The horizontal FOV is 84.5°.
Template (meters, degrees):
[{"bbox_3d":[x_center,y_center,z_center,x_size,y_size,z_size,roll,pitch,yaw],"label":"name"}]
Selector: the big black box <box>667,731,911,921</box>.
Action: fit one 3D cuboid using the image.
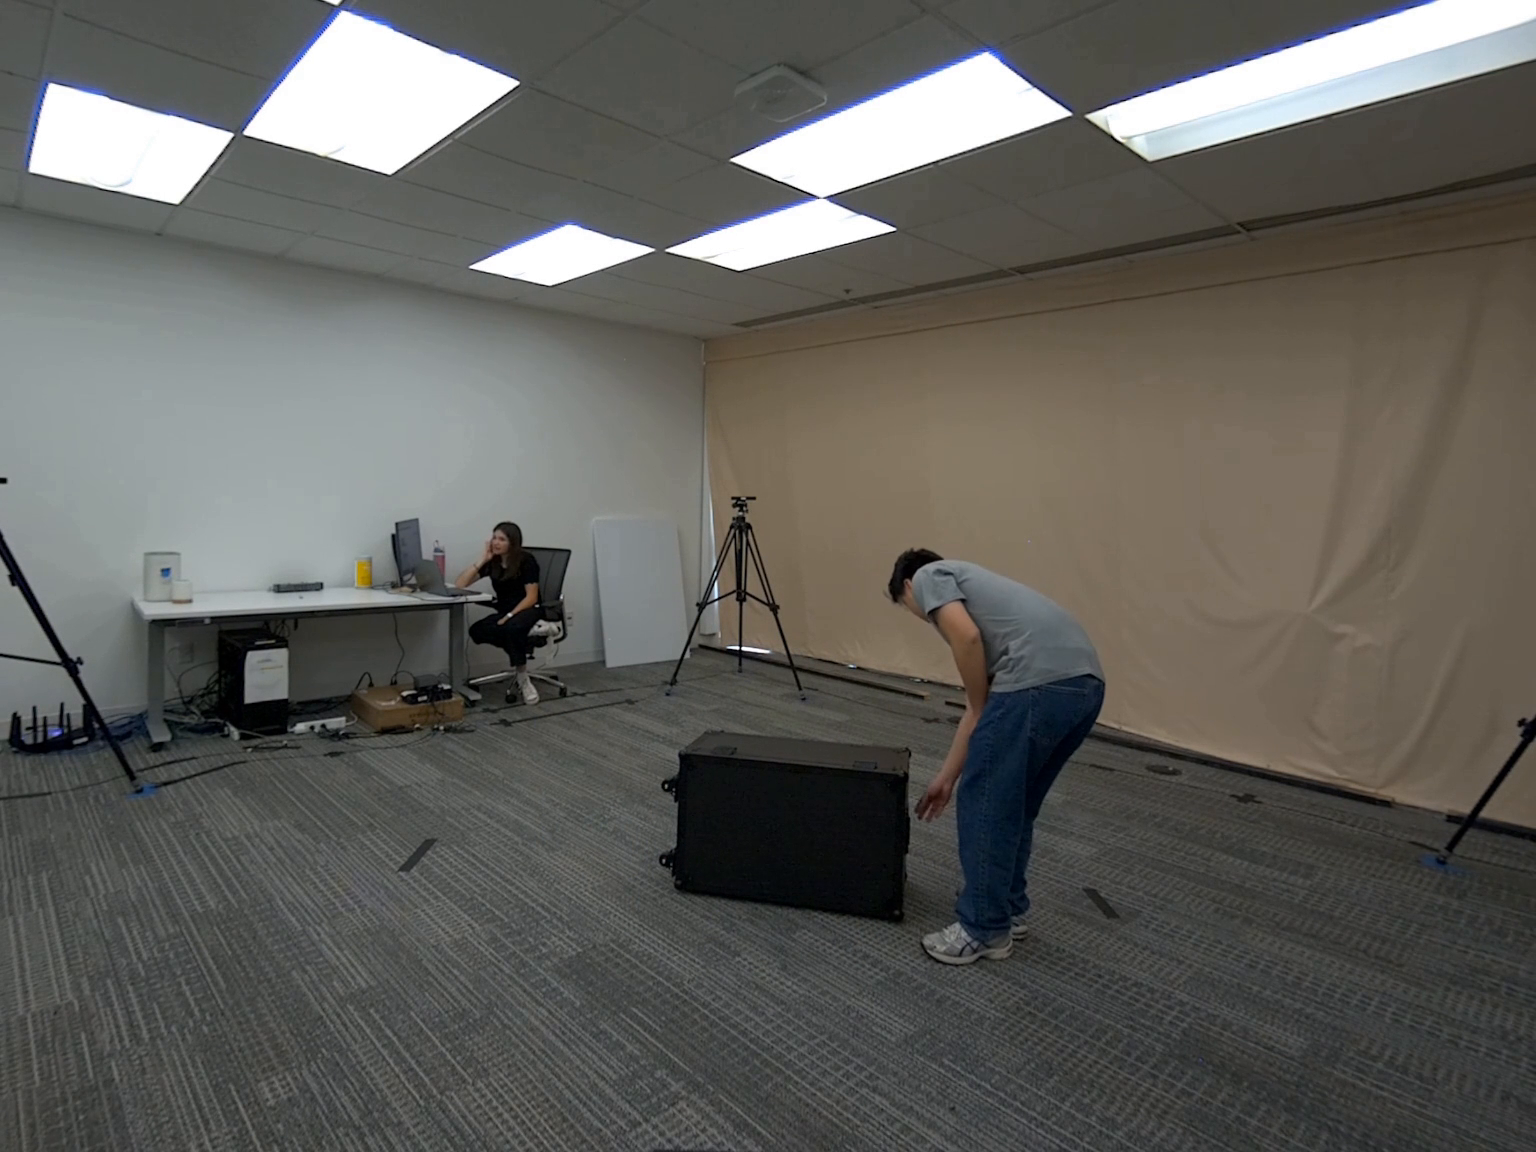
[{"bbox_3d":[0.125,0.866,3.026,0.872,0.521,0.392,3,2,14],"label":"big black box"}]
